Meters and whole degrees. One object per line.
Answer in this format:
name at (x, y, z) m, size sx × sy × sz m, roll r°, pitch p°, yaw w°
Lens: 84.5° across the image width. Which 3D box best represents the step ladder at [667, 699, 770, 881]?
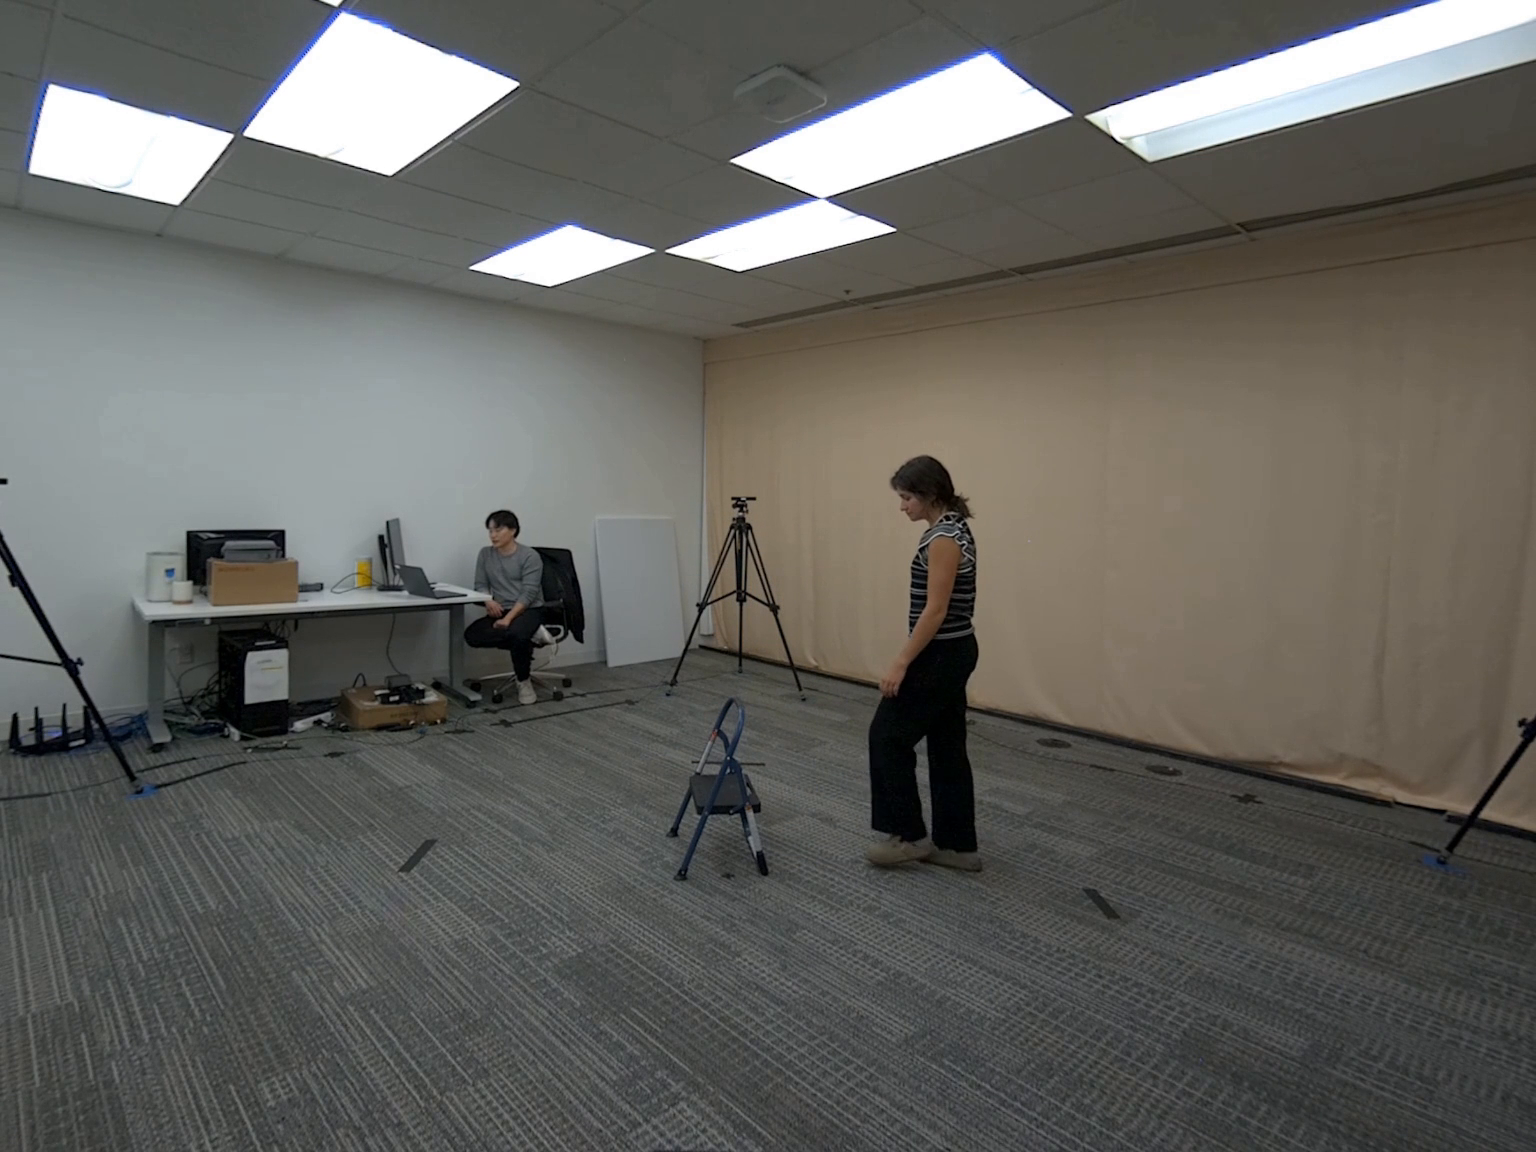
step ladder at (-0.198, 0.790, 3.271) m, size 0.346 × 0.605 × 0.435 m, roll 1°, pitch 4°, yaw -10°
